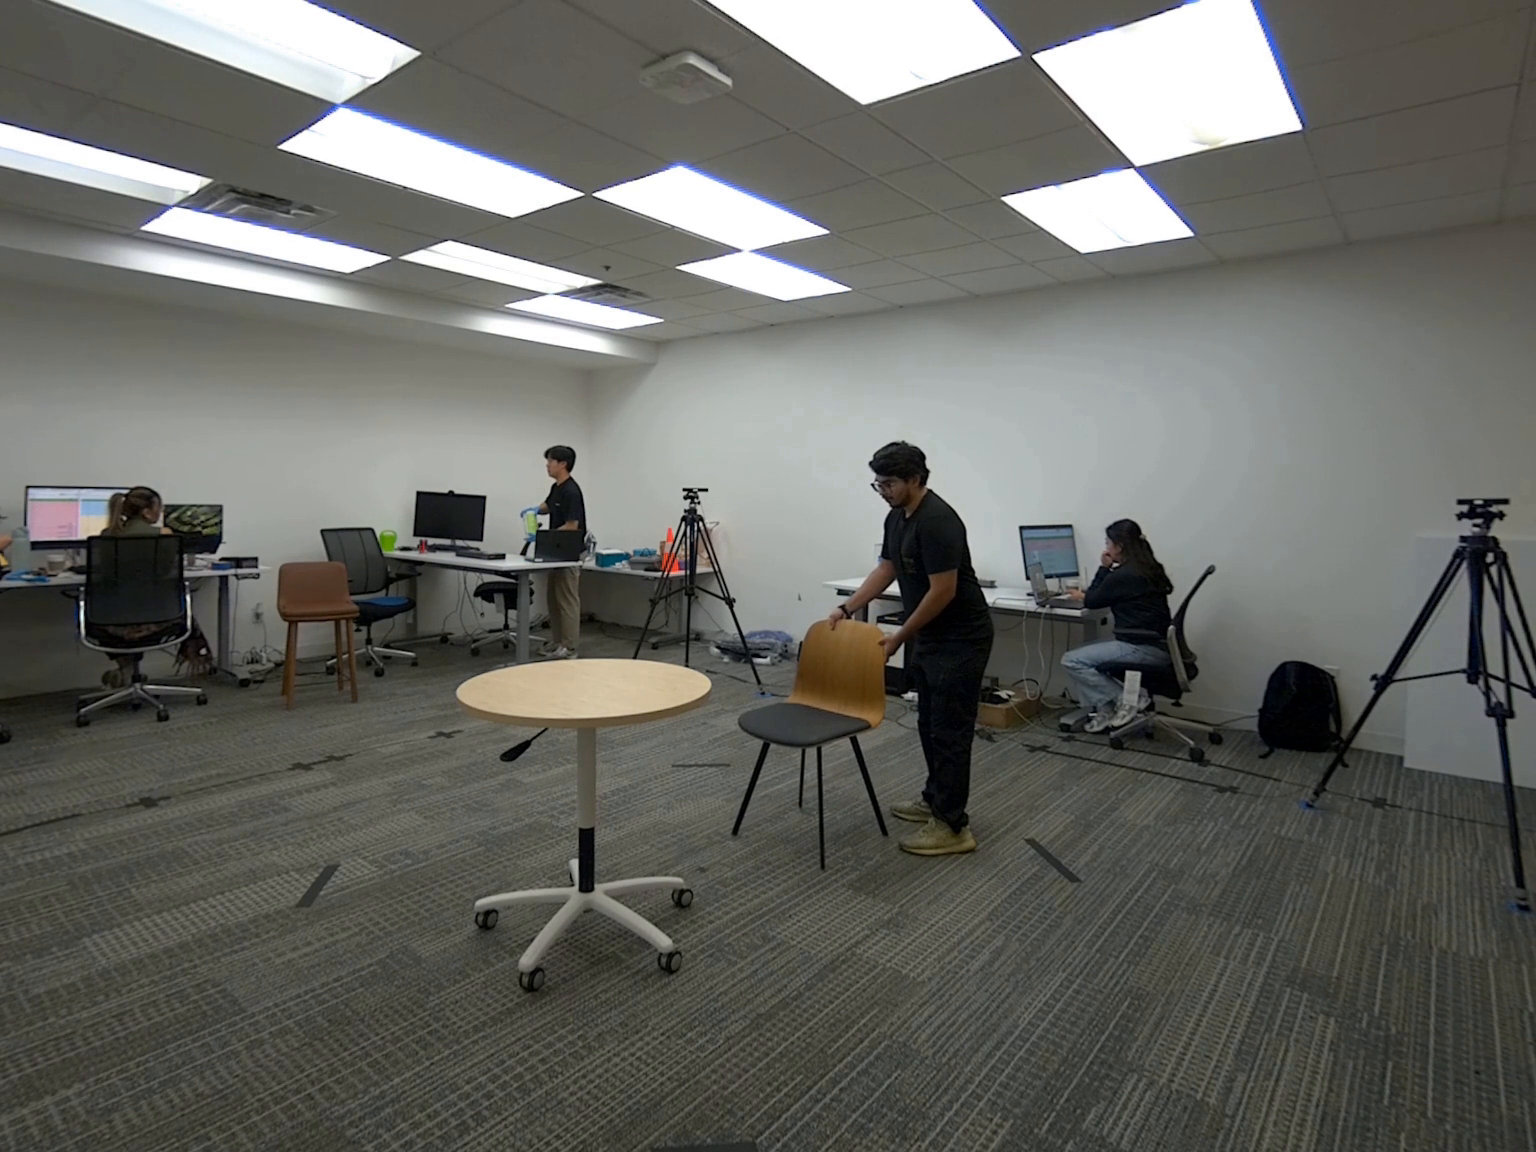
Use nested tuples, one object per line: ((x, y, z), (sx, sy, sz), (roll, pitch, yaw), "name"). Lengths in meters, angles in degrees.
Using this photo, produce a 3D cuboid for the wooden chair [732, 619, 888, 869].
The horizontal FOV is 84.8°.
((0.165, 0.621, 3.412), (0.494, 0.877, 0.506), (5, 0, 40), "wooden chair")
